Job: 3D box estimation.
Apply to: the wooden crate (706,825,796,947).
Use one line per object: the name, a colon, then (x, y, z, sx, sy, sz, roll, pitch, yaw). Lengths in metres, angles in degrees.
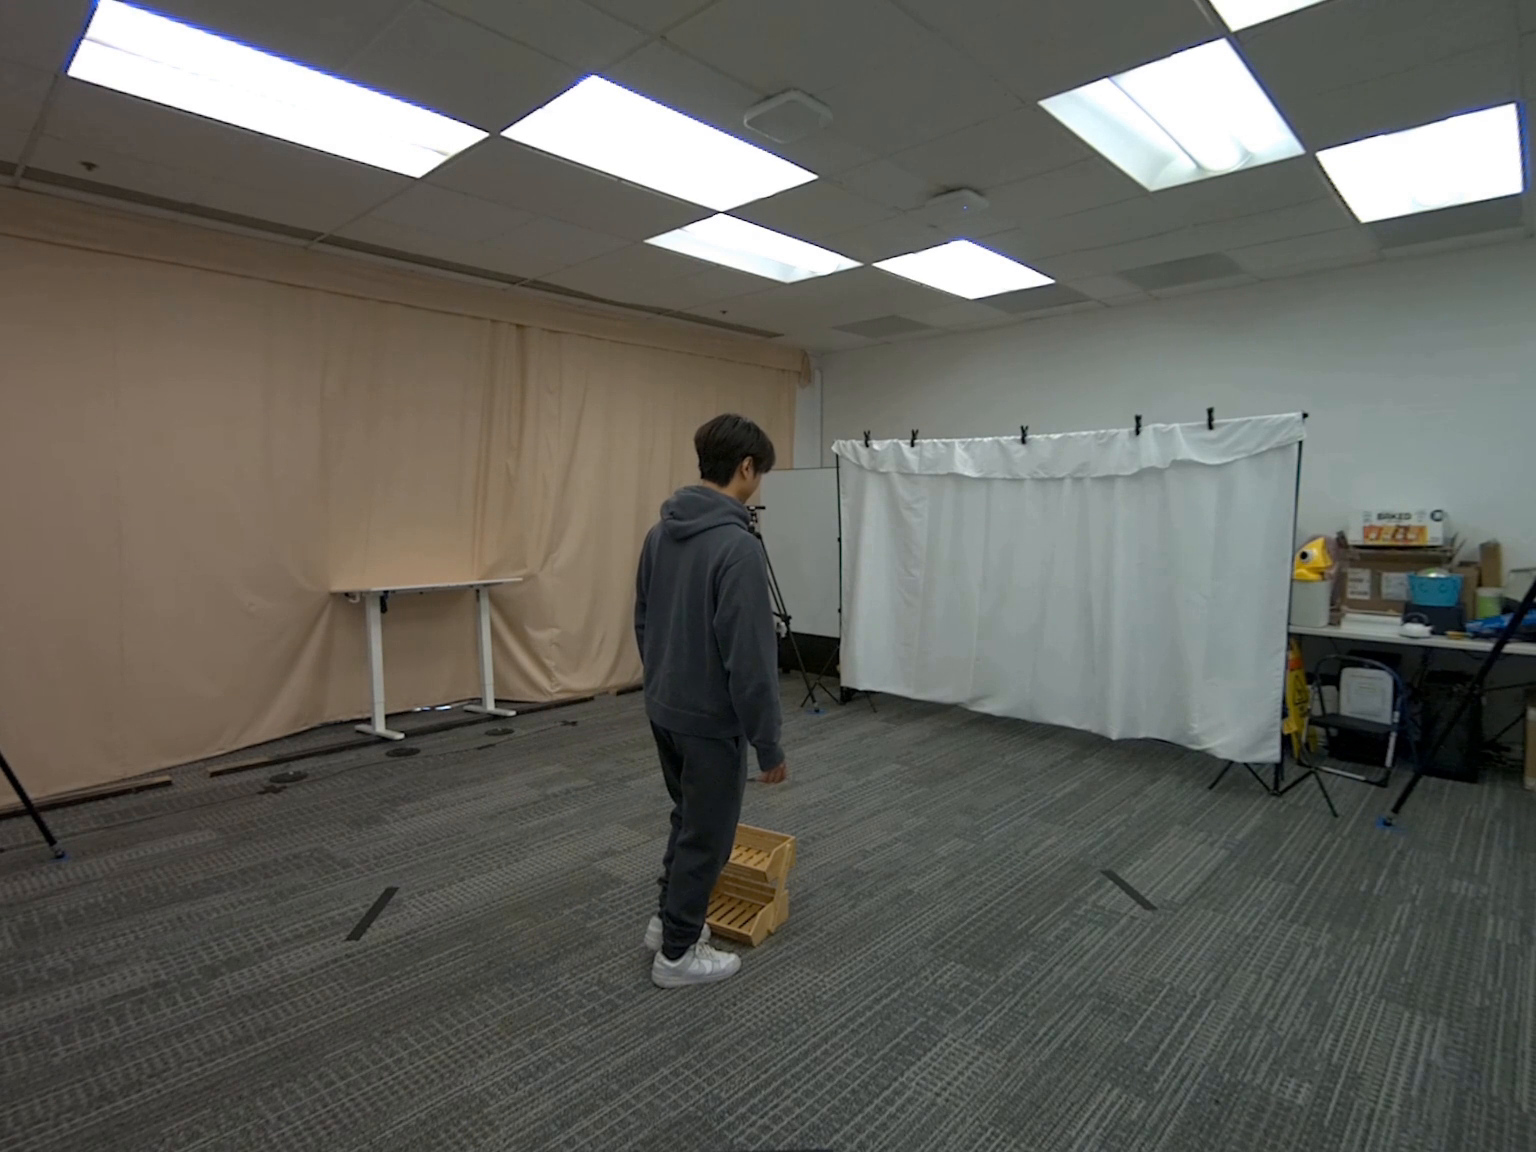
wooden crate: (-0.105, 1.024, 2.839, 0.334, 0.273, 0.294, 3, 5, 31)
